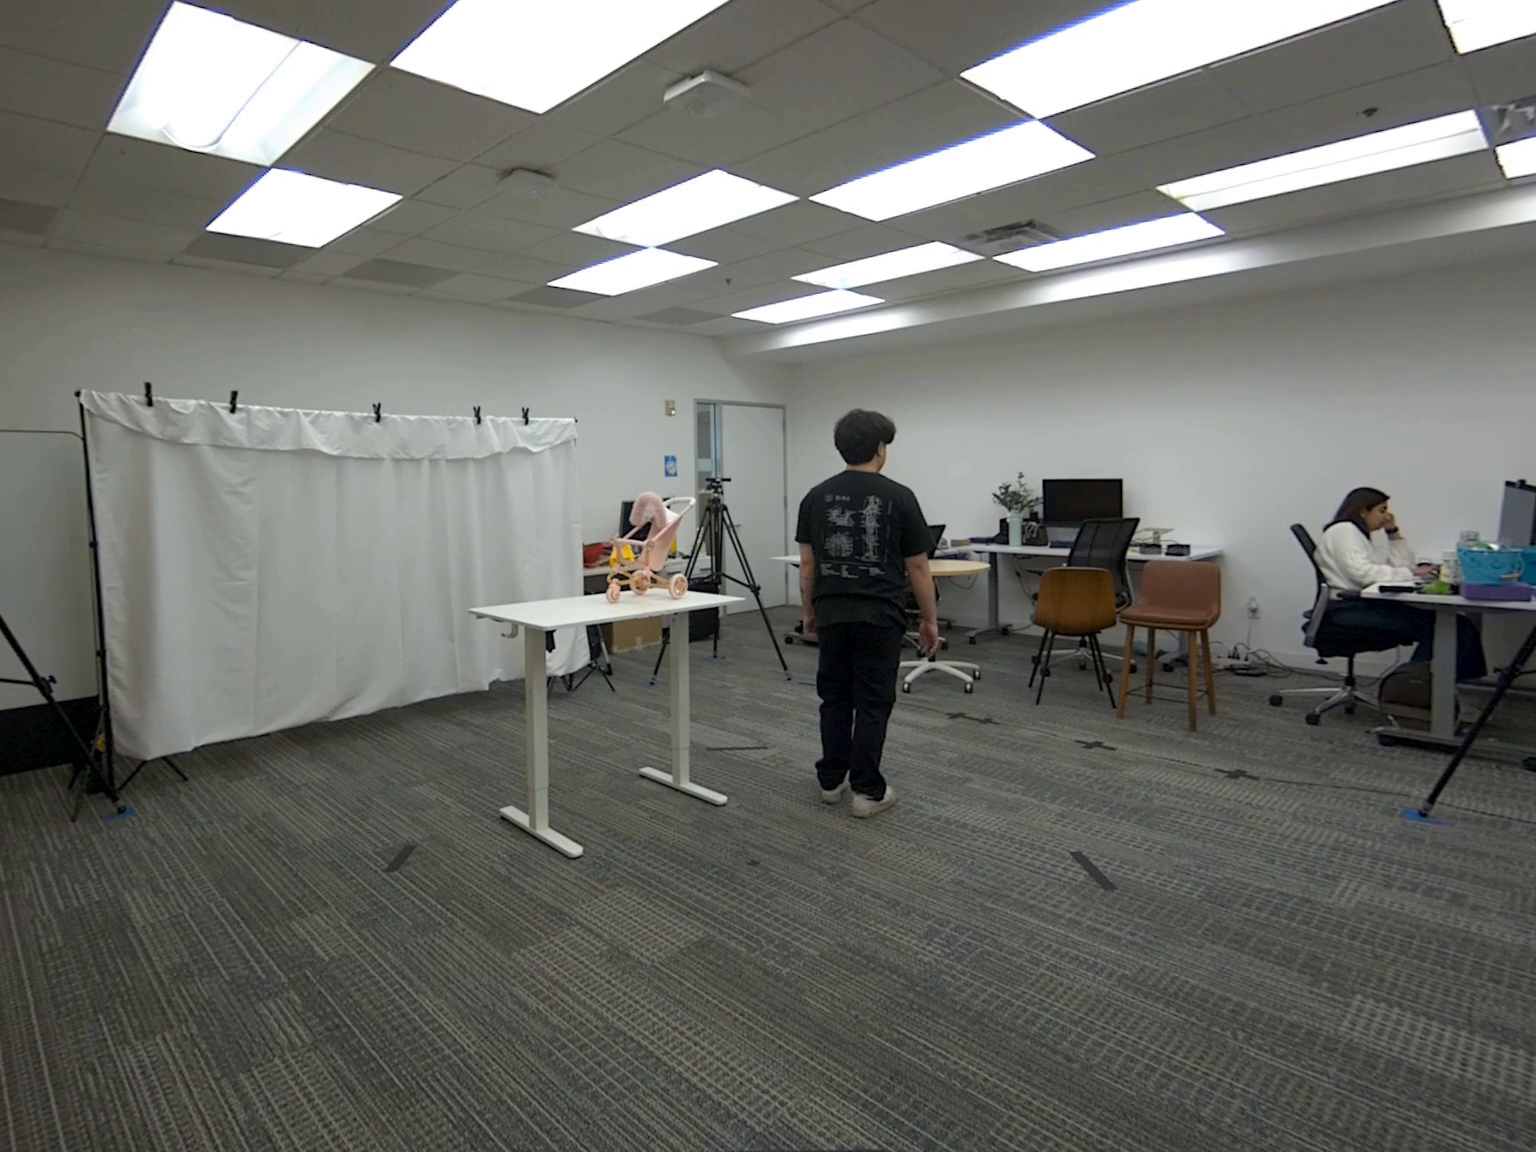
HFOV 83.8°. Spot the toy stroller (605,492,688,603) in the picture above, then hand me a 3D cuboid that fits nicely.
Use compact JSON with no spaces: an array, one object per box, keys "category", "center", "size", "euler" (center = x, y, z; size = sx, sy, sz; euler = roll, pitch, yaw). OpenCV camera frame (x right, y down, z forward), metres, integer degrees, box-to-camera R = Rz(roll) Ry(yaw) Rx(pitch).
[{"category":"toy stroller","center":[-0.533,-0.128,3.740],"size":[0.329,0.538,0.290],"euler":[16,-9,-43]}]
